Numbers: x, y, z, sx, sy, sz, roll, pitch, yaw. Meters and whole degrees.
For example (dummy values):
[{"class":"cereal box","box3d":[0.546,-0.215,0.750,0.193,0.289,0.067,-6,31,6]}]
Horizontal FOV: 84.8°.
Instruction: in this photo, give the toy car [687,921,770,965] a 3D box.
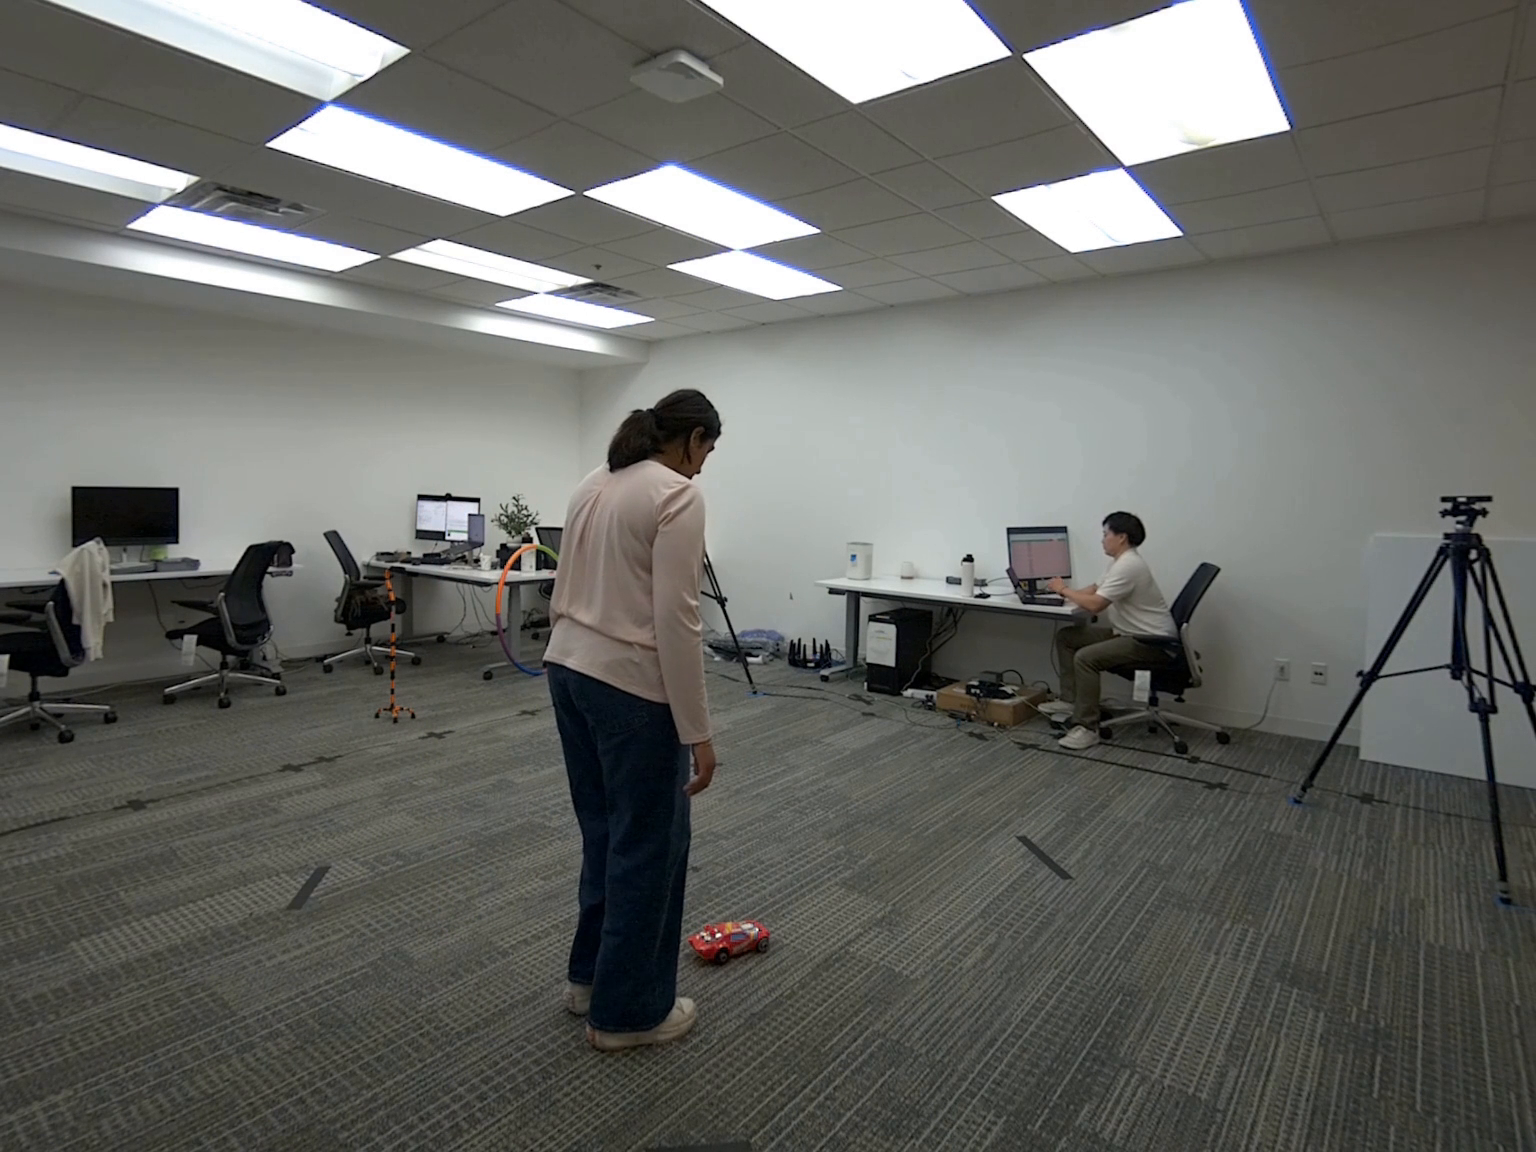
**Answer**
[{"class":"toy car","box3d":[-0.130,1.090,2.548,0.246,0.083,0.134,11,0,-31]}]
